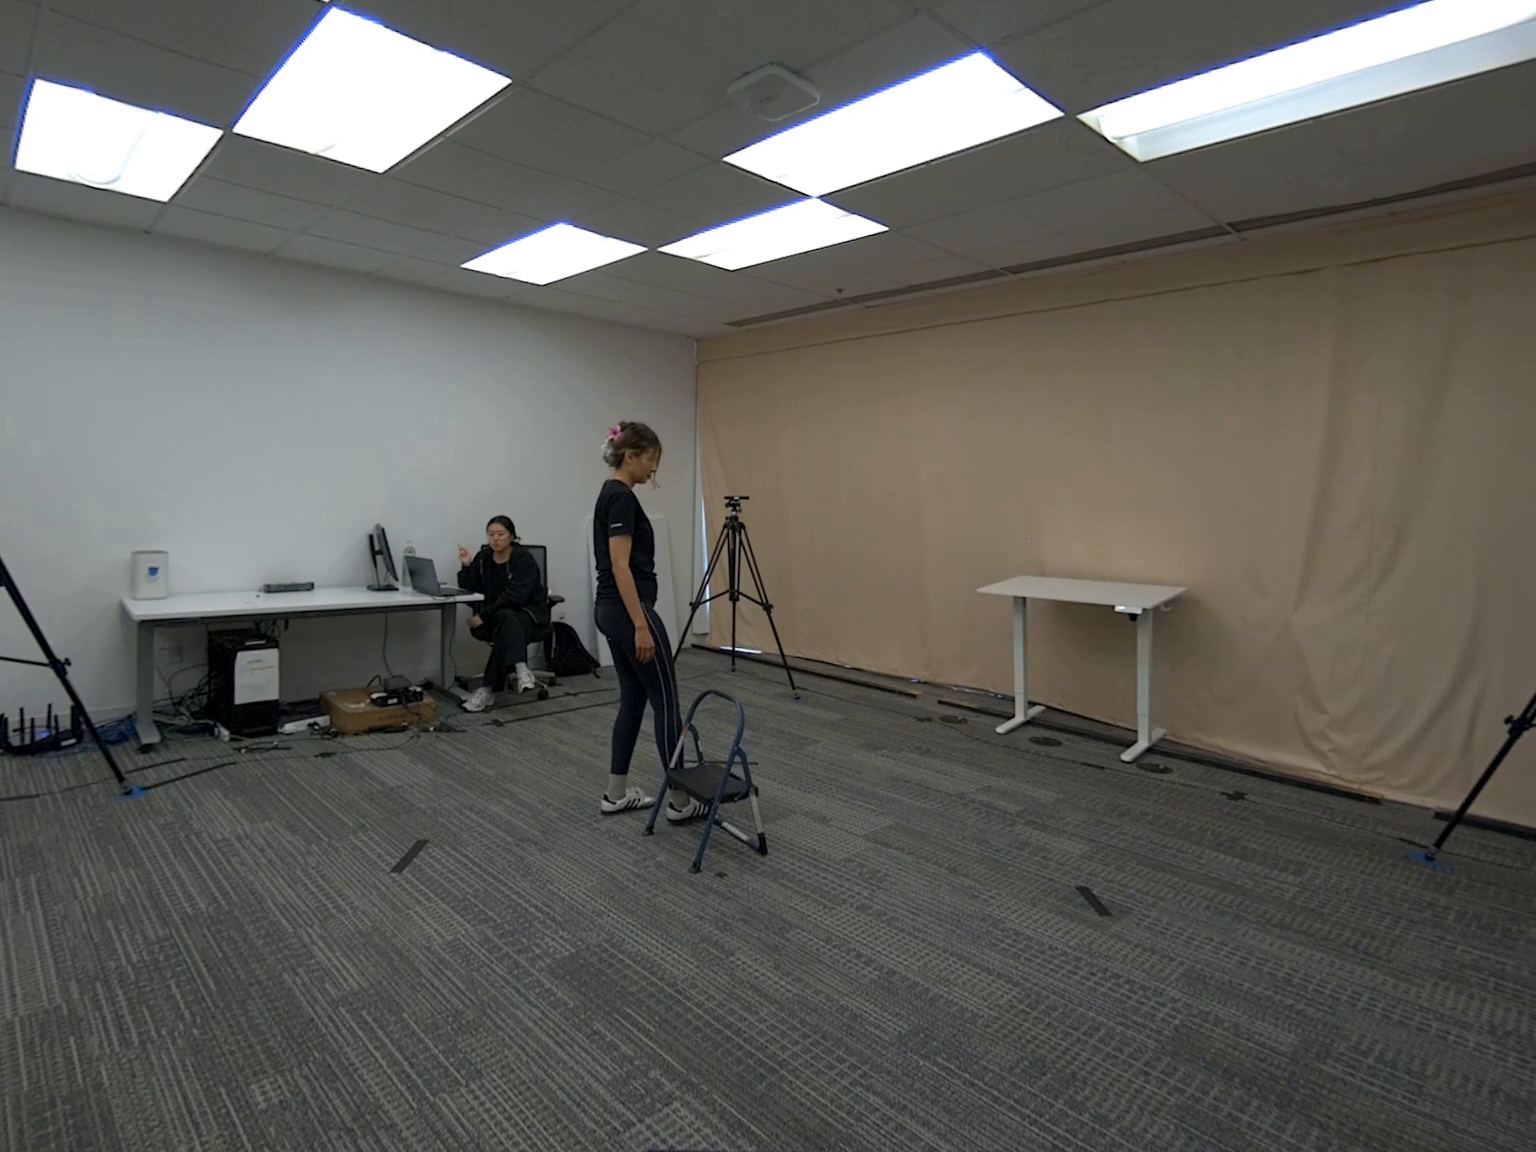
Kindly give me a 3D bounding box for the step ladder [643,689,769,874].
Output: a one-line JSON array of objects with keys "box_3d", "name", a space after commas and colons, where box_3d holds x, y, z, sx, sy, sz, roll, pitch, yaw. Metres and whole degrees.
[{"box_3d": [-0.252, 0.775, 3.356, 0.342, 0.605, 0.441, -1, 4, -33], "name": "step ladder"}]
